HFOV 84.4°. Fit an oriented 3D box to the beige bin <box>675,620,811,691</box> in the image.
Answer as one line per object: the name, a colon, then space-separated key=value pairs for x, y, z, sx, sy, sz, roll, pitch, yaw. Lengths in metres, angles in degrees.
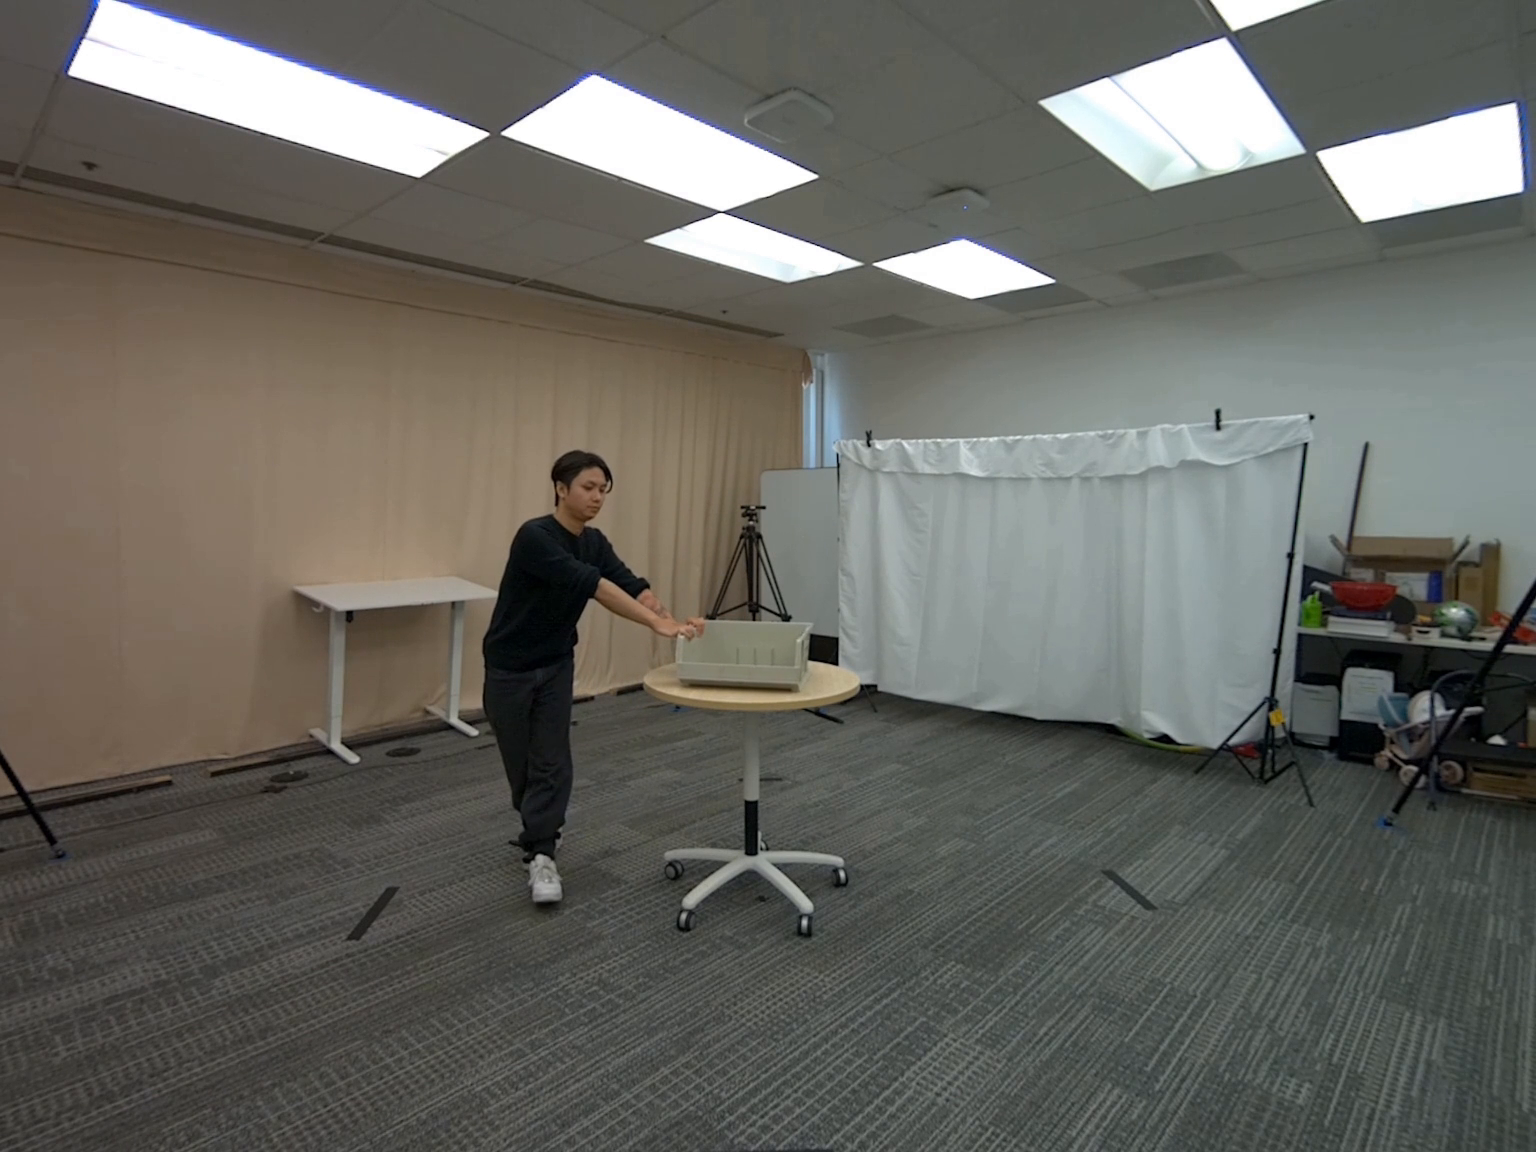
beige bin: x=-0.074 y=0.272 z=2.938 sx=0.427 sy=0.189 sz=0.373 roll=1 pitch=2 yaw=10
